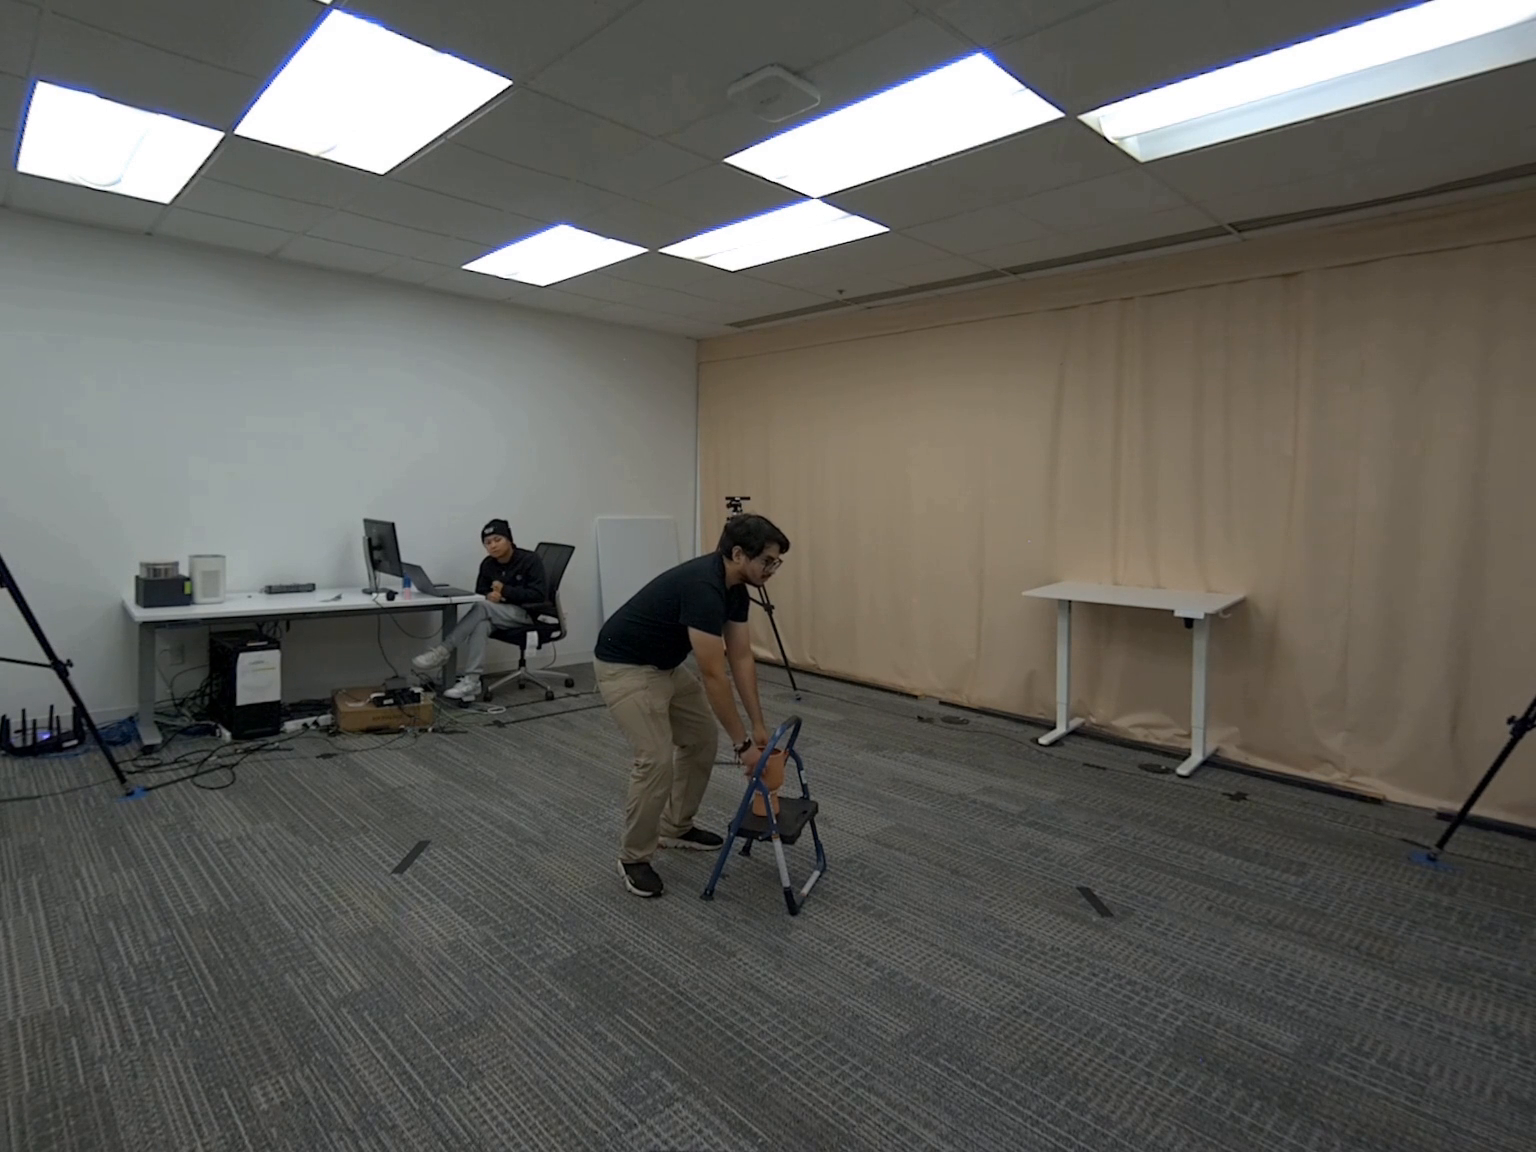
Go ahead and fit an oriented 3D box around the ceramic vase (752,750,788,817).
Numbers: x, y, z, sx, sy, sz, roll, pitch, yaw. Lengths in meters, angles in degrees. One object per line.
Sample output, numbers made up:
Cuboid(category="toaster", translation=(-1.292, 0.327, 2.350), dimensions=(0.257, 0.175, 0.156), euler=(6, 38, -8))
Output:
Cuboid(category="ceramic vase", translation=(-0.019, 0.740, 3.041), dimensions=(0.155, 0.219, 0.138), euler=(-2, 3, -41))
